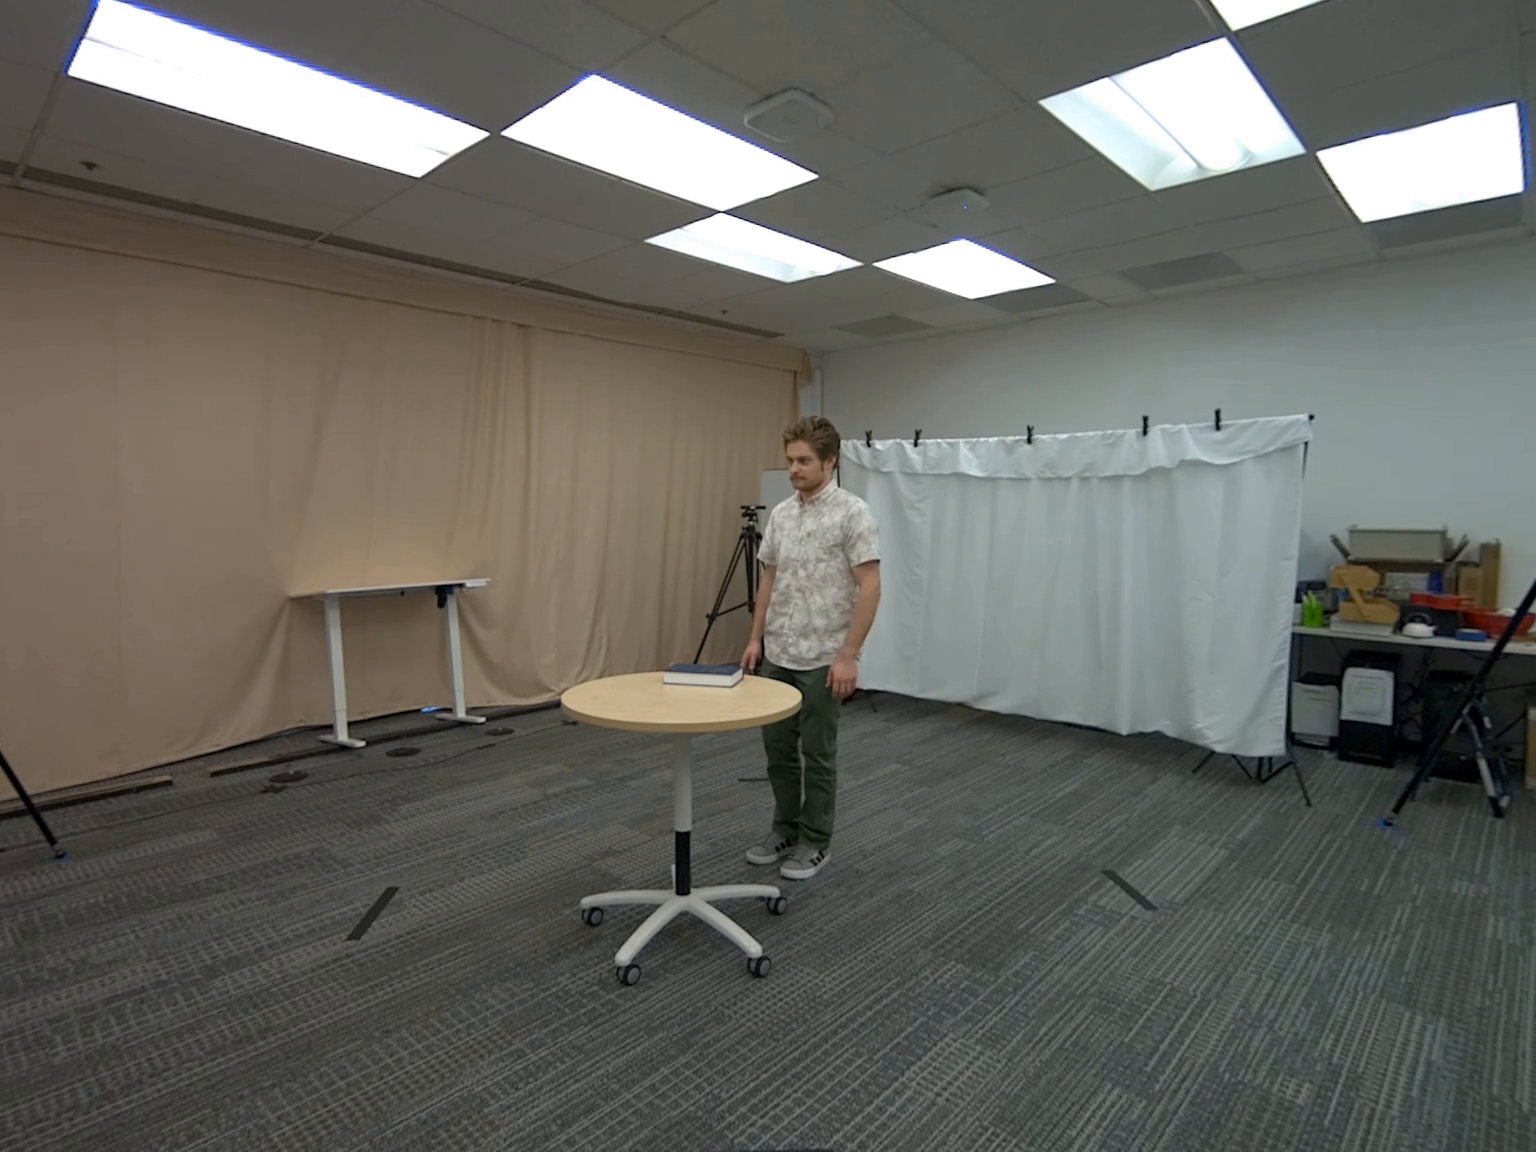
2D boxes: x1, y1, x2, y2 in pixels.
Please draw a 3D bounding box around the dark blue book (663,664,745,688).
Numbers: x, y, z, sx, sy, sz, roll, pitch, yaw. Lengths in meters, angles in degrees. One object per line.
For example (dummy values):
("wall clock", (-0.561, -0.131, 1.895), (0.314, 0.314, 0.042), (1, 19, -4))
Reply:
("dark blue book", (-0.218, 0.343, 2.899), (0.249, 0.045, 0.161), (1, 4, 15))
